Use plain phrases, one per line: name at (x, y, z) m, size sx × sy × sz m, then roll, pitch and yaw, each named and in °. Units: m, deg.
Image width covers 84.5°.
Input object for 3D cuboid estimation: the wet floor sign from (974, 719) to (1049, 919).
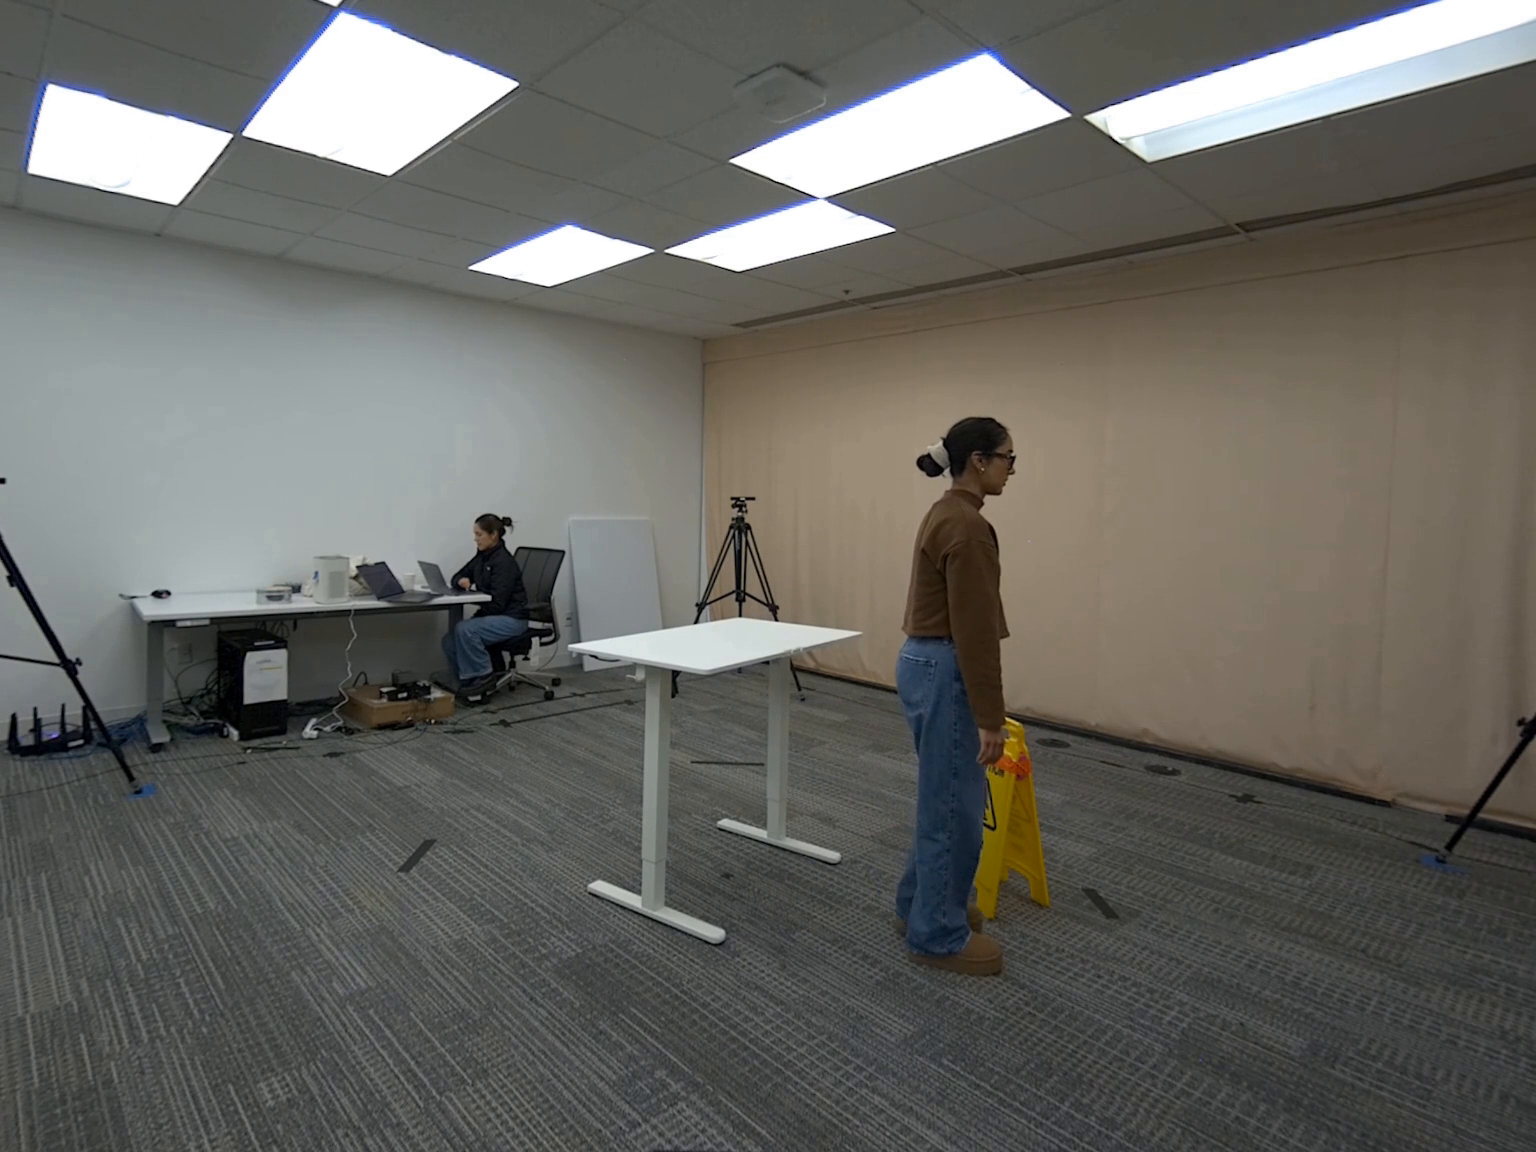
wet floor sign at (0.798, 0.818, 2.987) m, size 0.284 × 0.645 × 0.288 m, roll 0°, pitch 2°, yaw -27°
